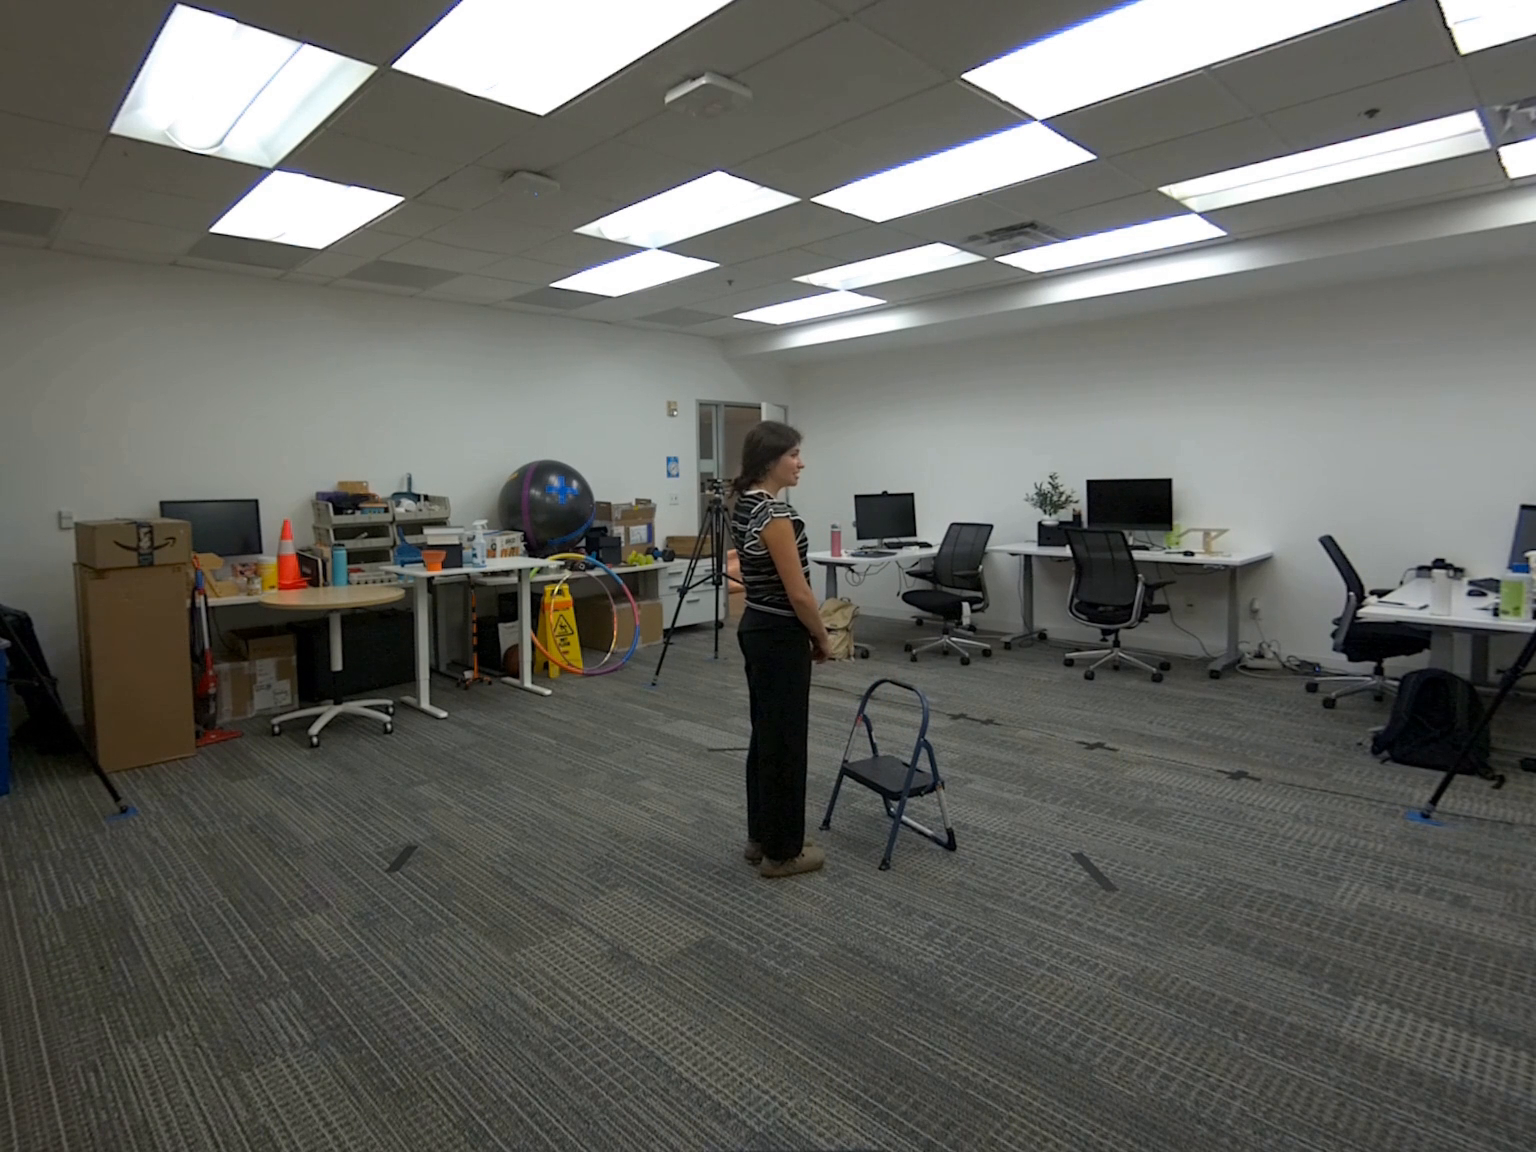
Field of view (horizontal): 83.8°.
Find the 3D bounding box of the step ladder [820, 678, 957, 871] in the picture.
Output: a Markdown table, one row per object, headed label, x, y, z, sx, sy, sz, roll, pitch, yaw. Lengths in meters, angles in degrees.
| label | x | y | z | sx | sy | sz | roll | pitch | yaw |
| --- | --- | --- | --- | --- | --- | --- | --- | --- | --- |
| step ladder | 0.452 | 0.715 | 3.280 | 0.341 | 0.604 | 0.442 | -3 | 5 | -28 |
